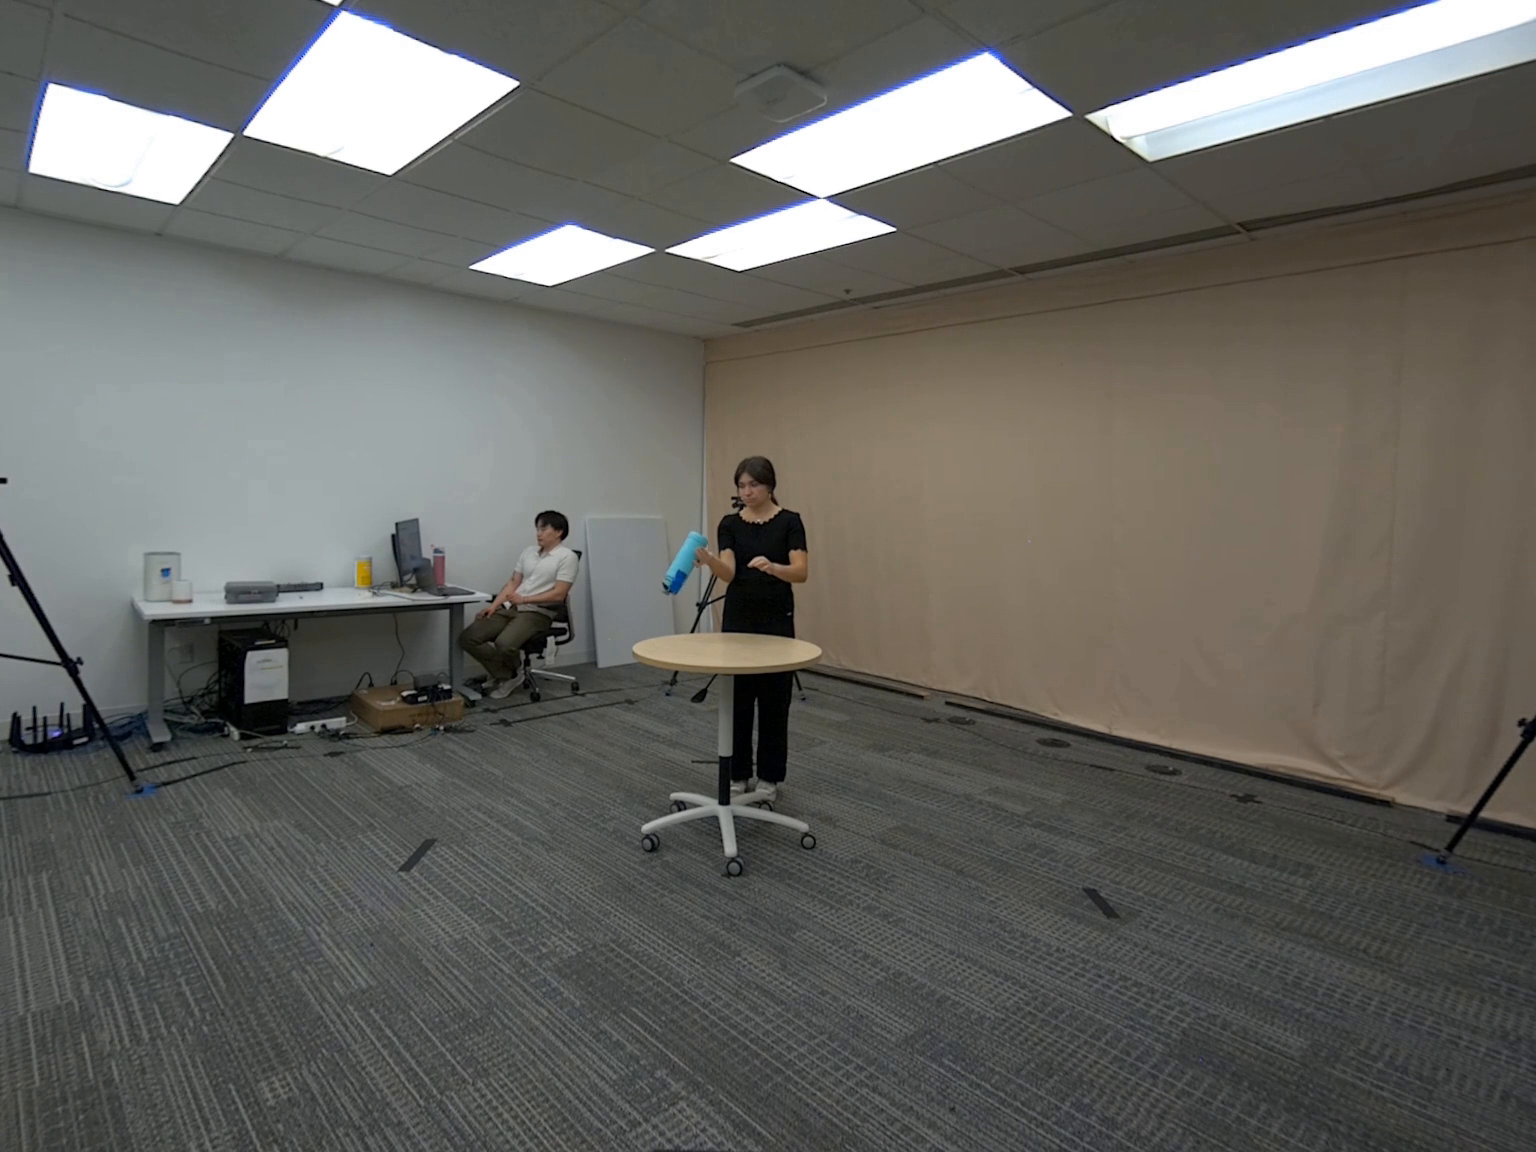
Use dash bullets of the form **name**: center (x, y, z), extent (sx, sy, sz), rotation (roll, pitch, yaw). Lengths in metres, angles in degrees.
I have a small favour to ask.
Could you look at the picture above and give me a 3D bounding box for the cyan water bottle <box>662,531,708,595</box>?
- **cyan water bottle**: center (-0.367, -0.046, 3.545), extent (0.093, 0.284, 0.091), rotation (27, -14, 5)
